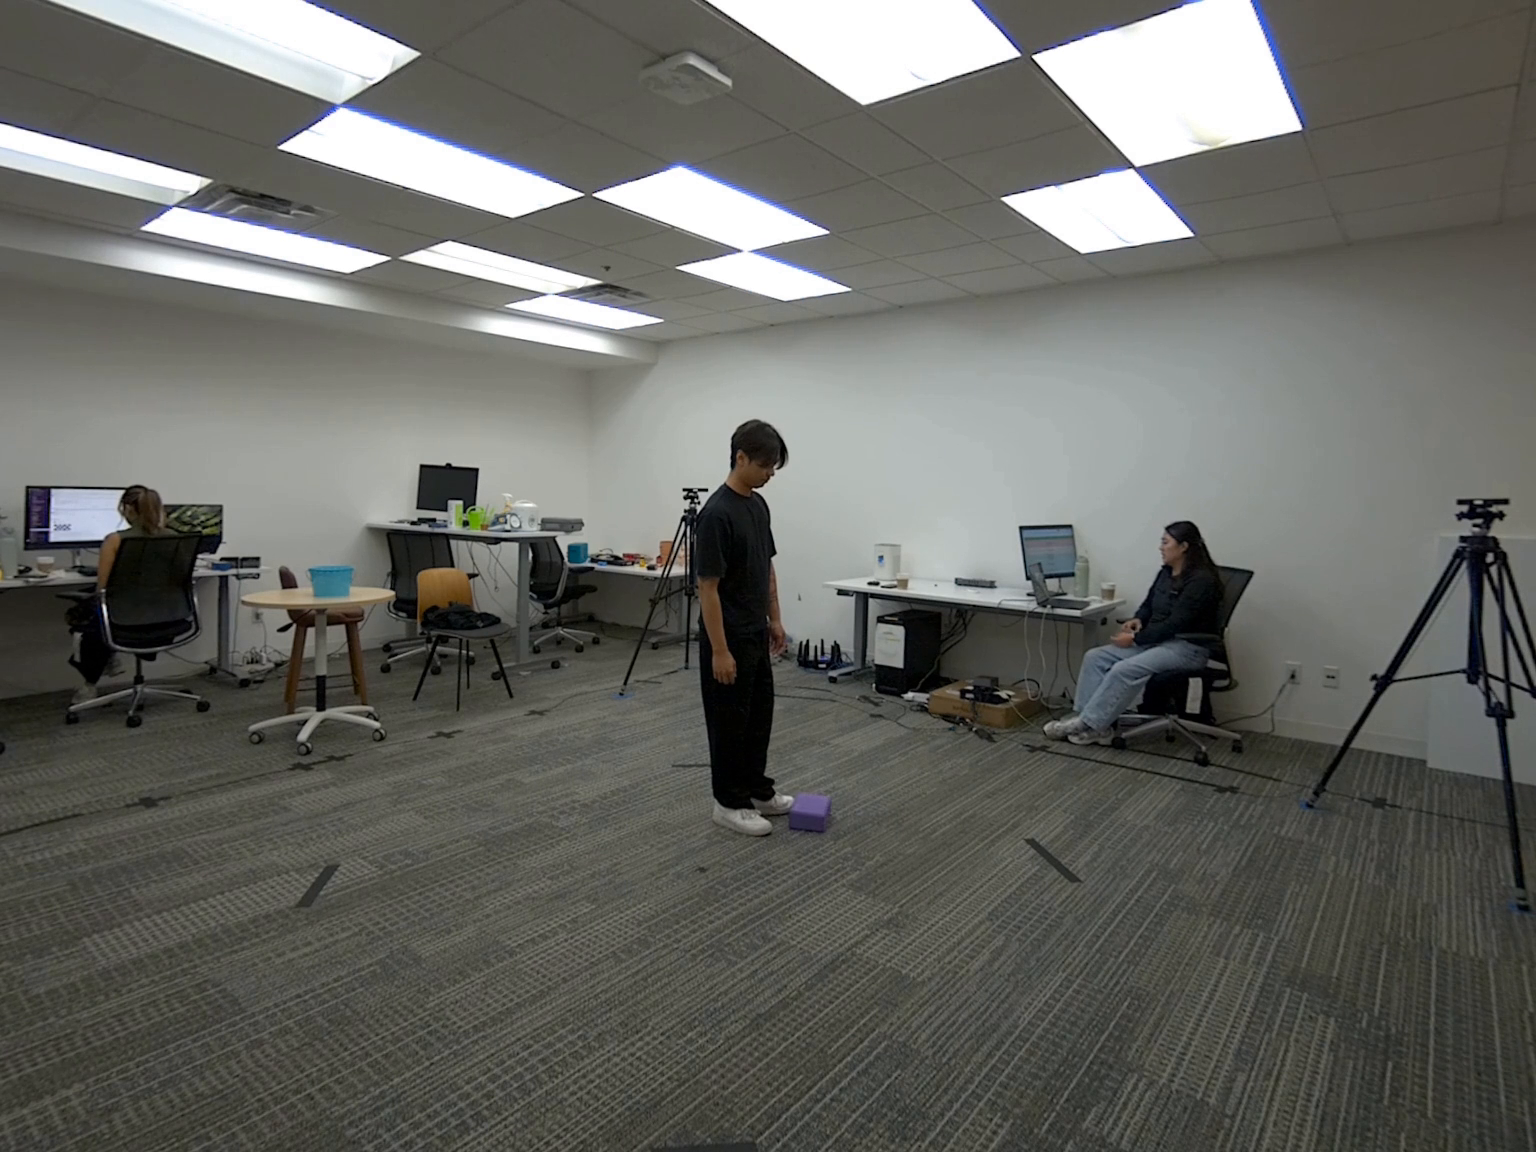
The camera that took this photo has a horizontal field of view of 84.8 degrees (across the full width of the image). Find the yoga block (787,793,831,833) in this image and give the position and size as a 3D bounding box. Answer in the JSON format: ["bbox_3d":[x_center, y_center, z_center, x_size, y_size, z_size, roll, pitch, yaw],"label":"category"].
[{"bbox_3d":[0.173,0.994,3.585,0.151,0.076,0.227,3,6,12],"label":"yoga block"}]
